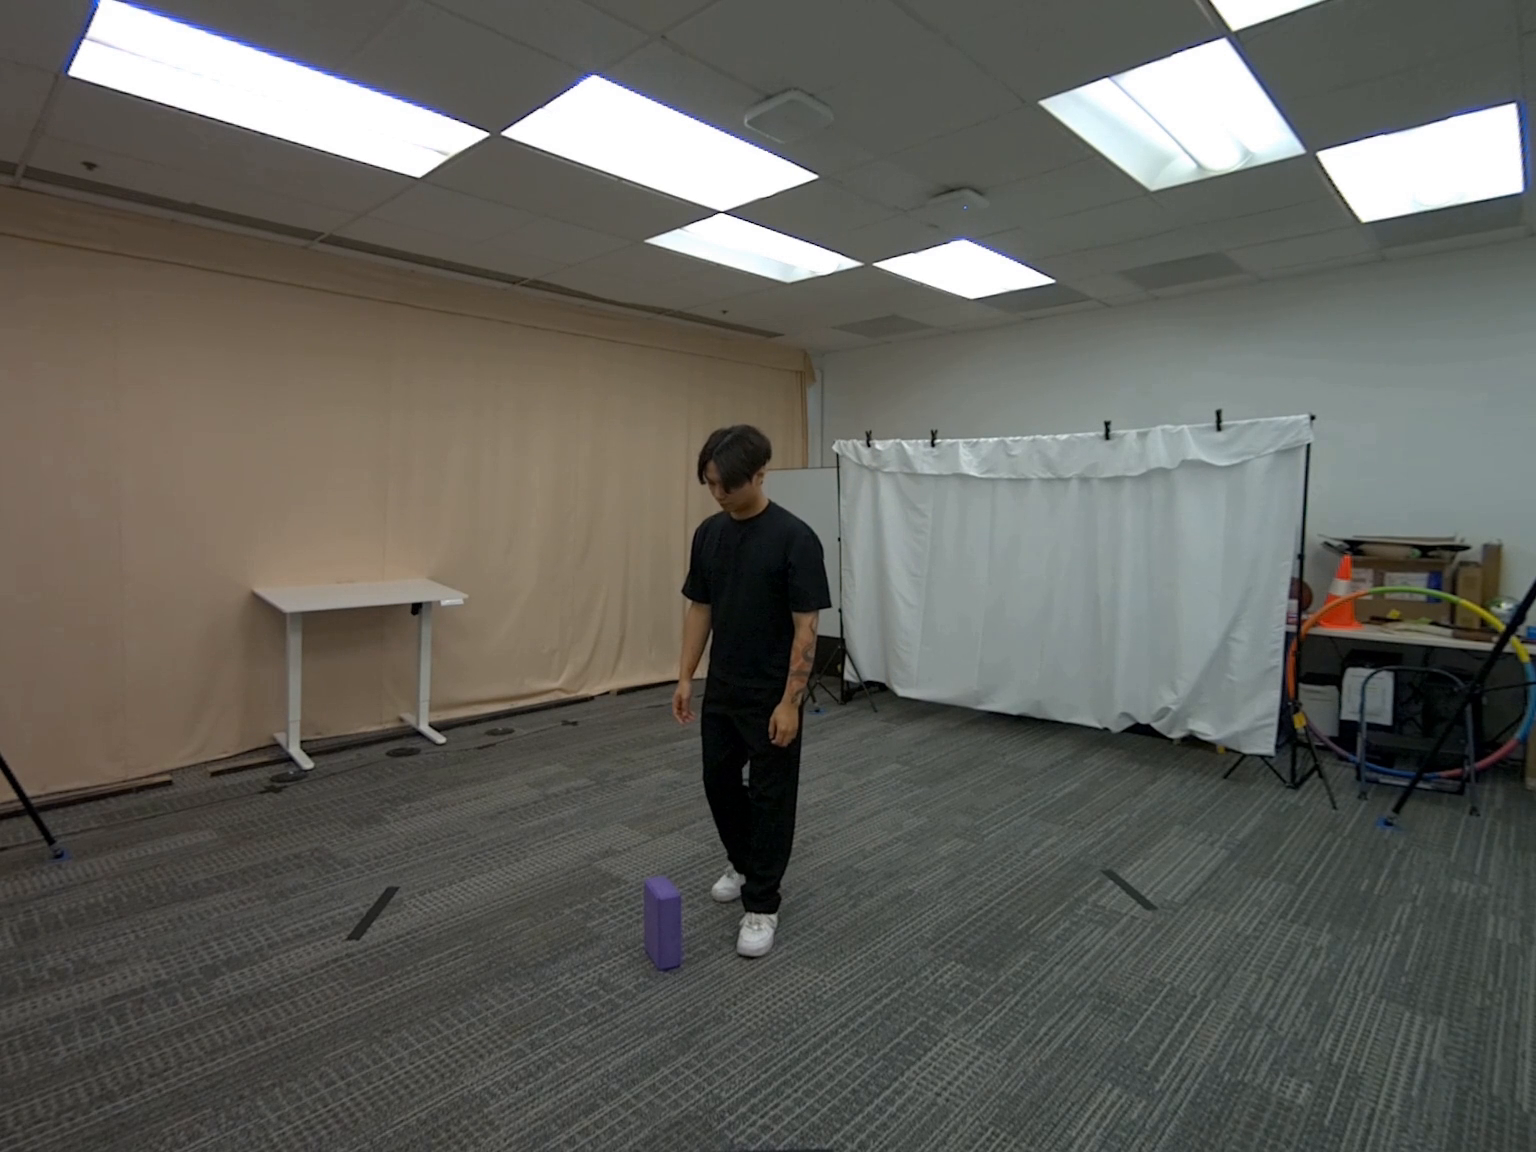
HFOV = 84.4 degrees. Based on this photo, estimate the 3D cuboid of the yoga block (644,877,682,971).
[{"bbox_3d":[-0.319,1.060,2.587,0.074,0.229,0.153,-1,4,-25],"label":"yoga block"}]
